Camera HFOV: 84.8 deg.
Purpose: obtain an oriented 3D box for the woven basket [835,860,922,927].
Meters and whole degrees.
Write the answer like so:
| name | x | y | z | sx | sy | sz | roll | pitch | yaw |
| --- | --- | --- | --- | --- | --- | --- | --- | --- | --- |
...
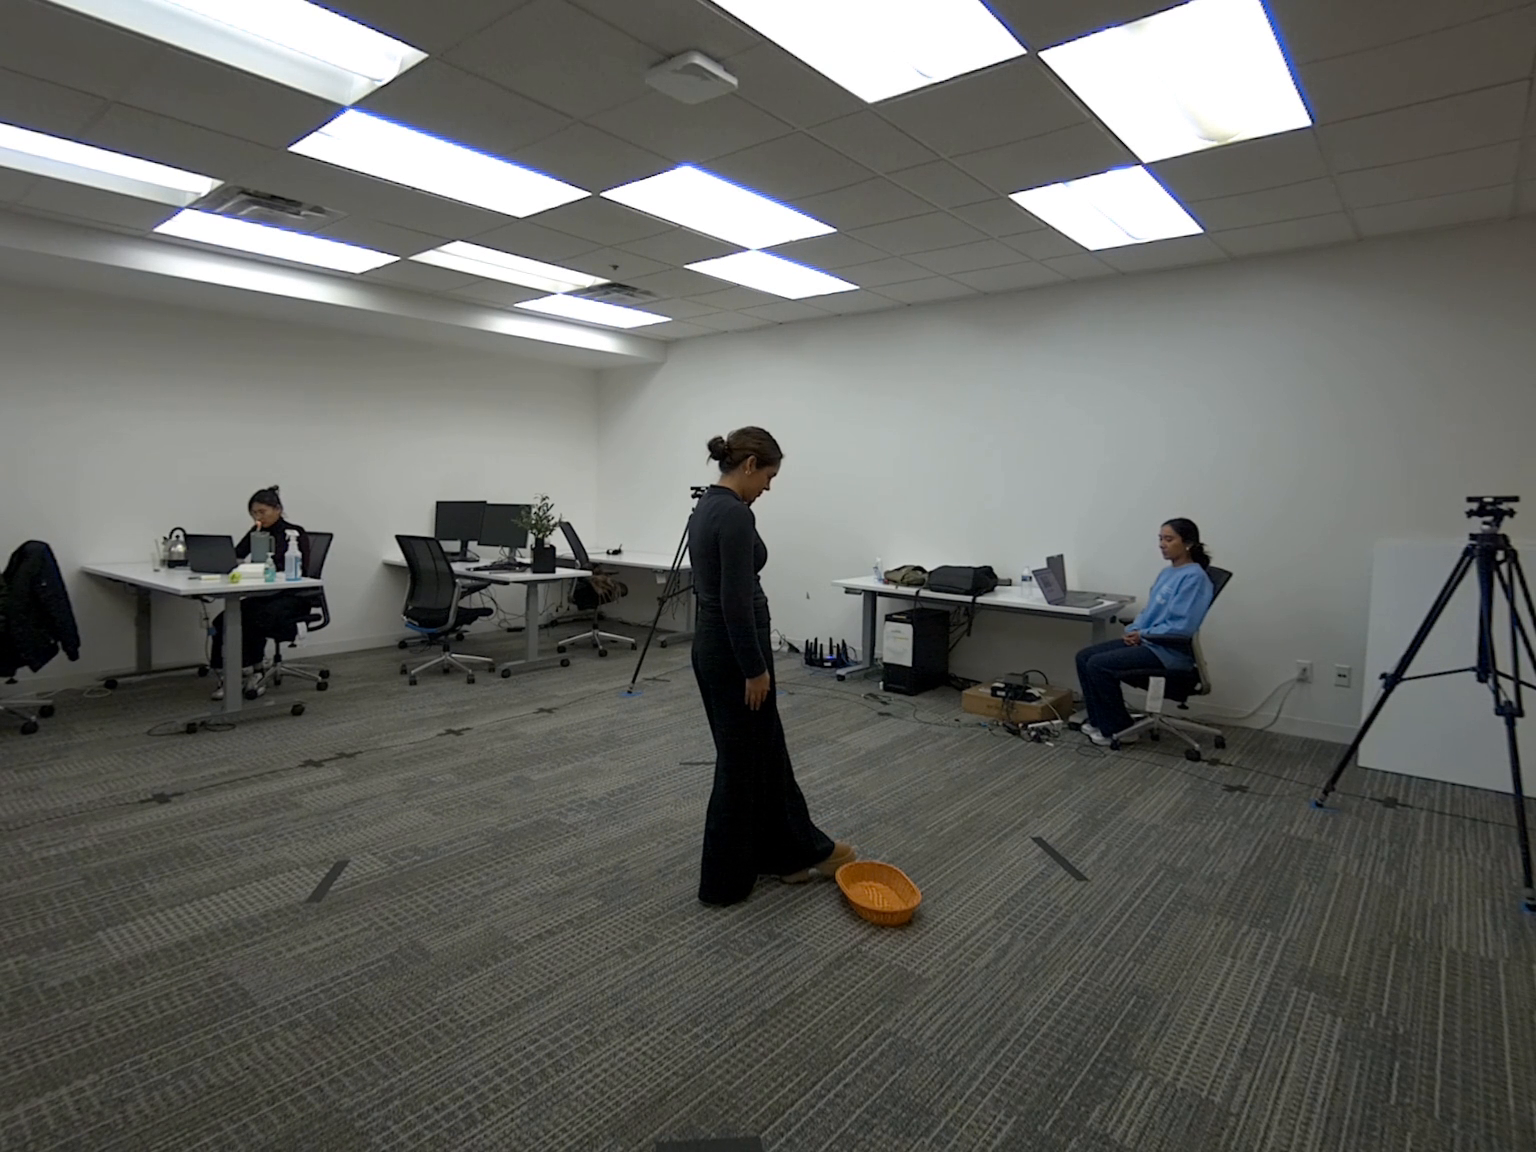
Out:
| name | x | y | z | sx | sy | sz | roll | pitch | yaw |
| --- | --- | --- | --- | --- | --- | --- | --- | --- | --- |
| woven basket | 0.362 | 1.062 | 2.856 | 0.249 | 0.073 | 0.357 | -2 | 7 | -14 |
